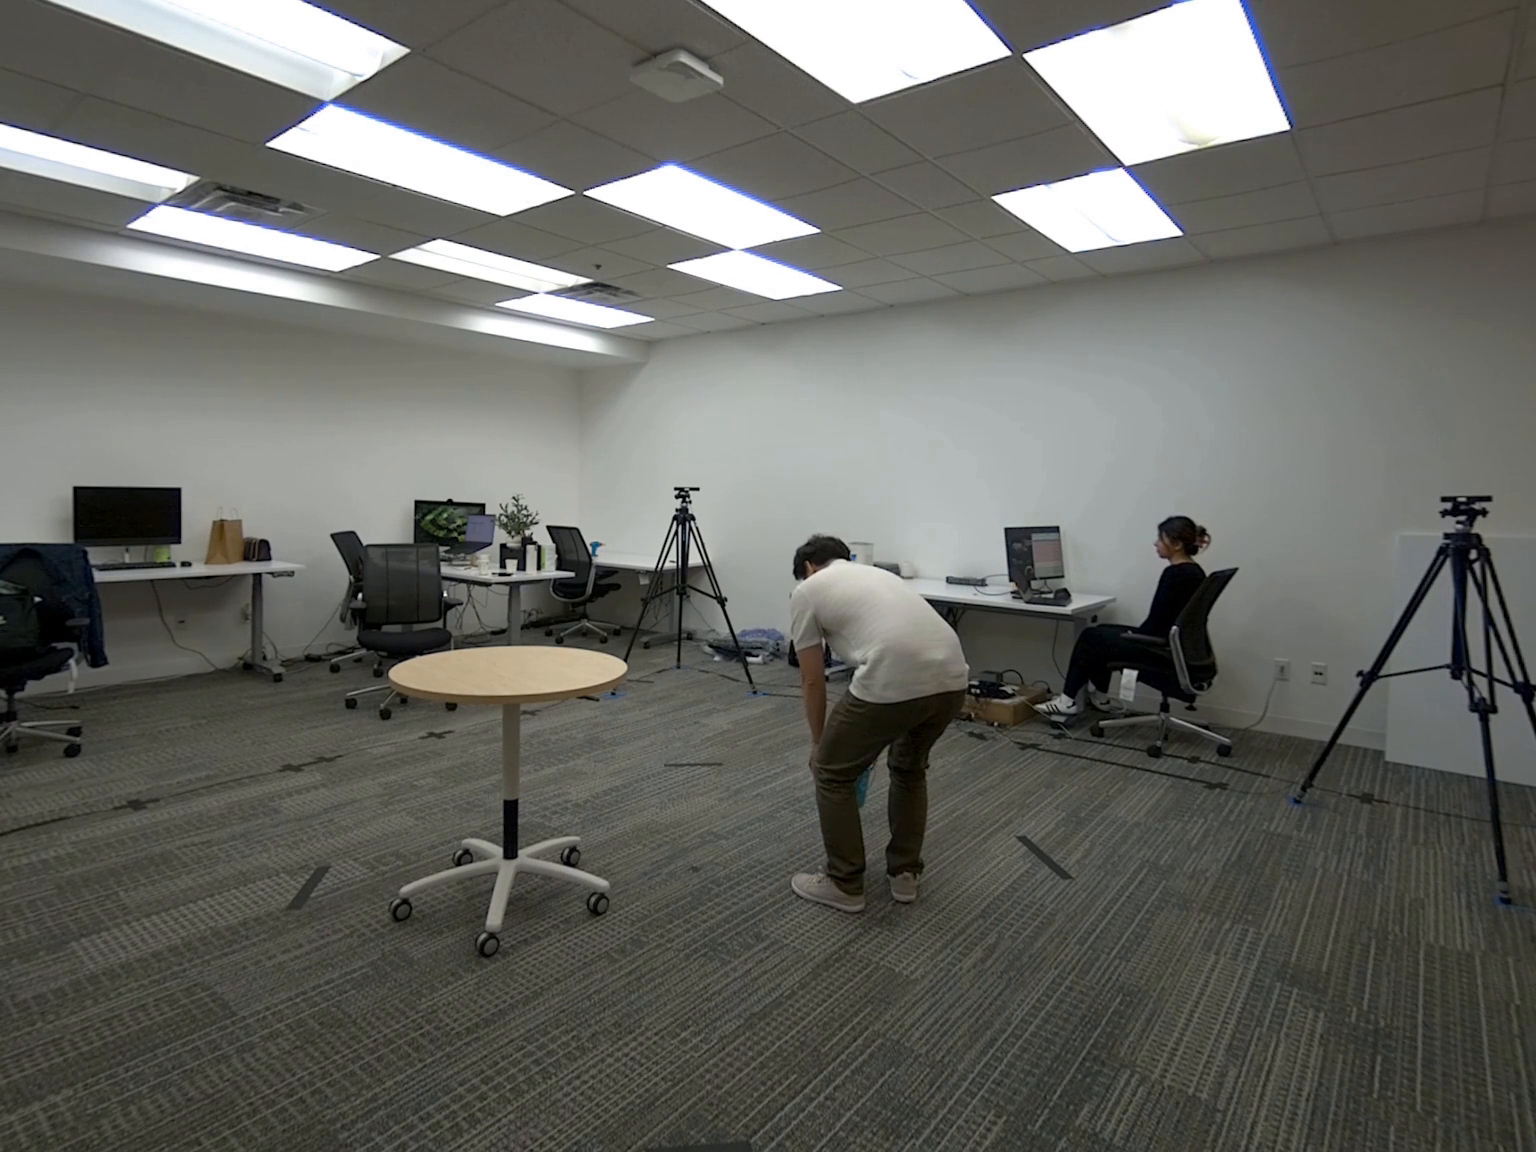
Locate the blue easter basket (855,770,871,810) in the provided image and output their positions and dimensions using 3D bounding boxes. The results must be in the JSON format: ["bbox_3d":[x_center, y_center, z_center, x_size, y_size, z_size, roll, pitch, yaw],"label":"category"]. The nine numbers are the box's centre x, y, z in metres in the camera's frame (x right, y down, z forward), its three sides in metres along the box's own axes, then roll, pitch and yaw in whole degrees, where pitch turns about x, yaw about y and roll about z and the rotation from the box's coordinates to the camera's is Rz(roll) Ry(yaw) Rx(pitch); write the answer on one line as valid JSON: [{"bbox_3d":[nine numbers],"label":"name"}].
[{"bbox_3d":[0.260,0.766,3.136,0.243,0.155,0.244,4,3,-2],"label":"blue easter basket"}]
